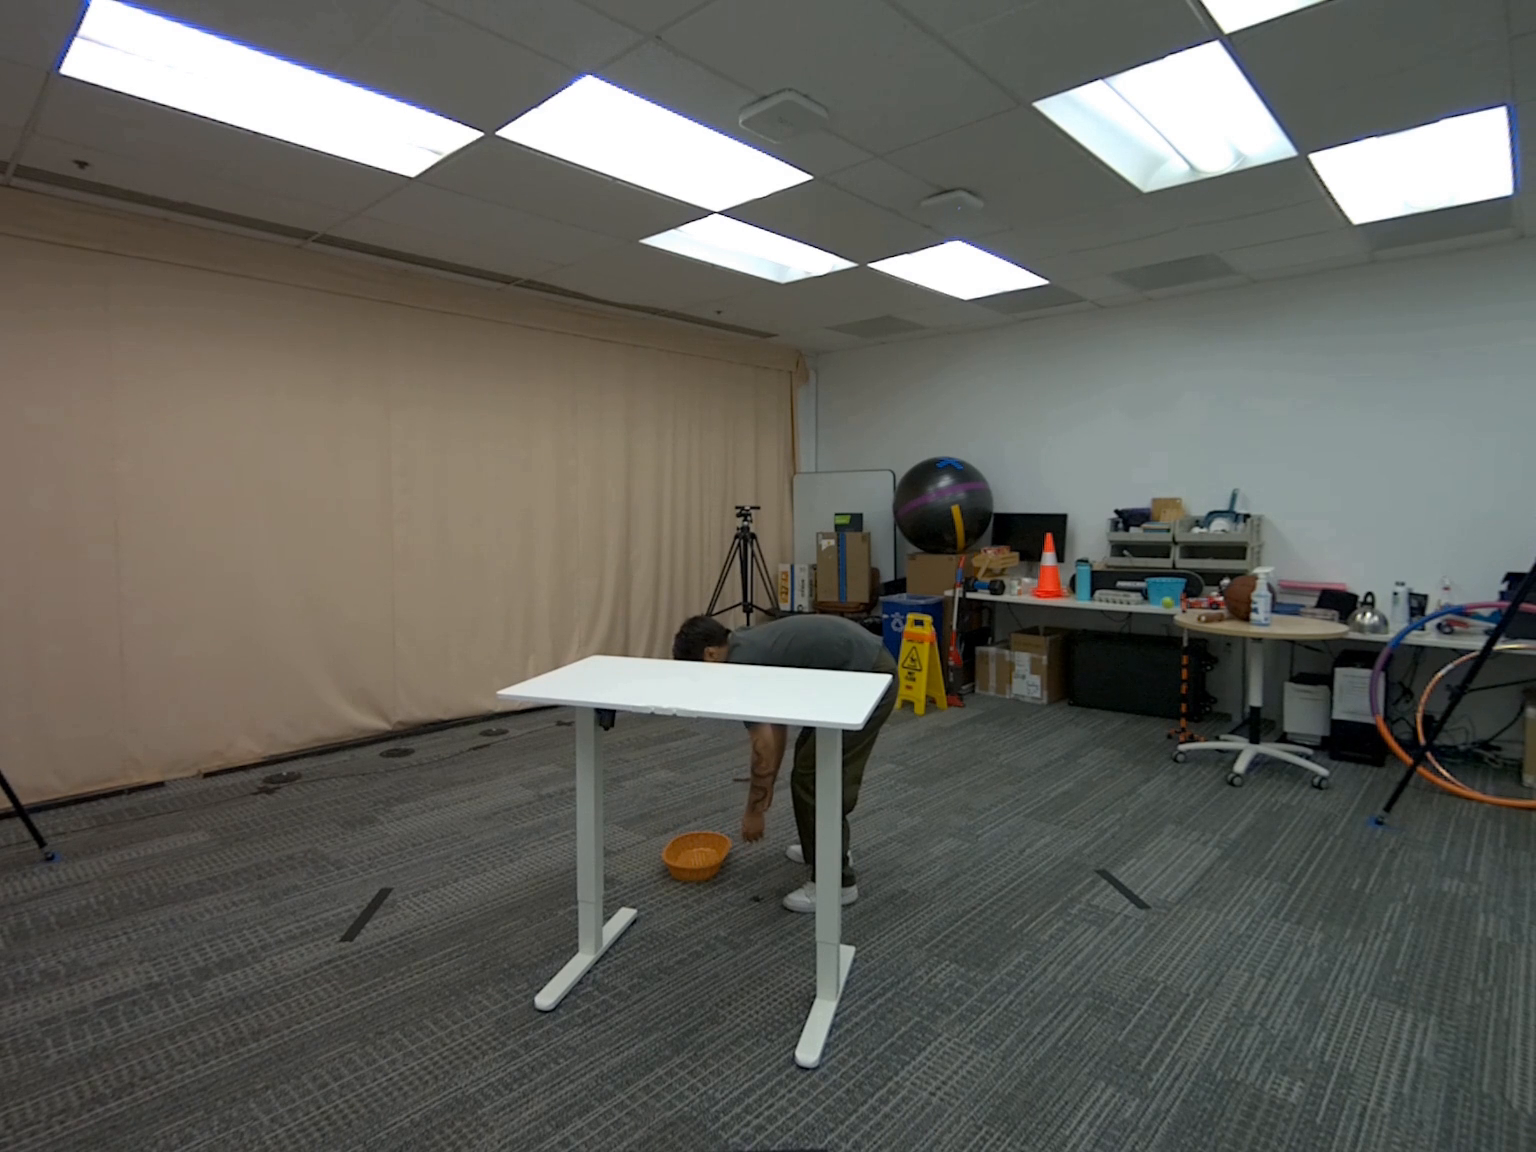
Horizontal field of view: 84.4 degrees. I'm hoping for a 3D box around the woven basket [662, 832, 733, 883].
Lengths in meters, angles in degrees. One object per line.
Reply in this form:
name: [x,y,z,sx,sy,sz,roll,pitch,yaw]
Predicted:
woven basket: [-0.272,1.083,3.258,0.256,0.073,0.346,0,5,14]
